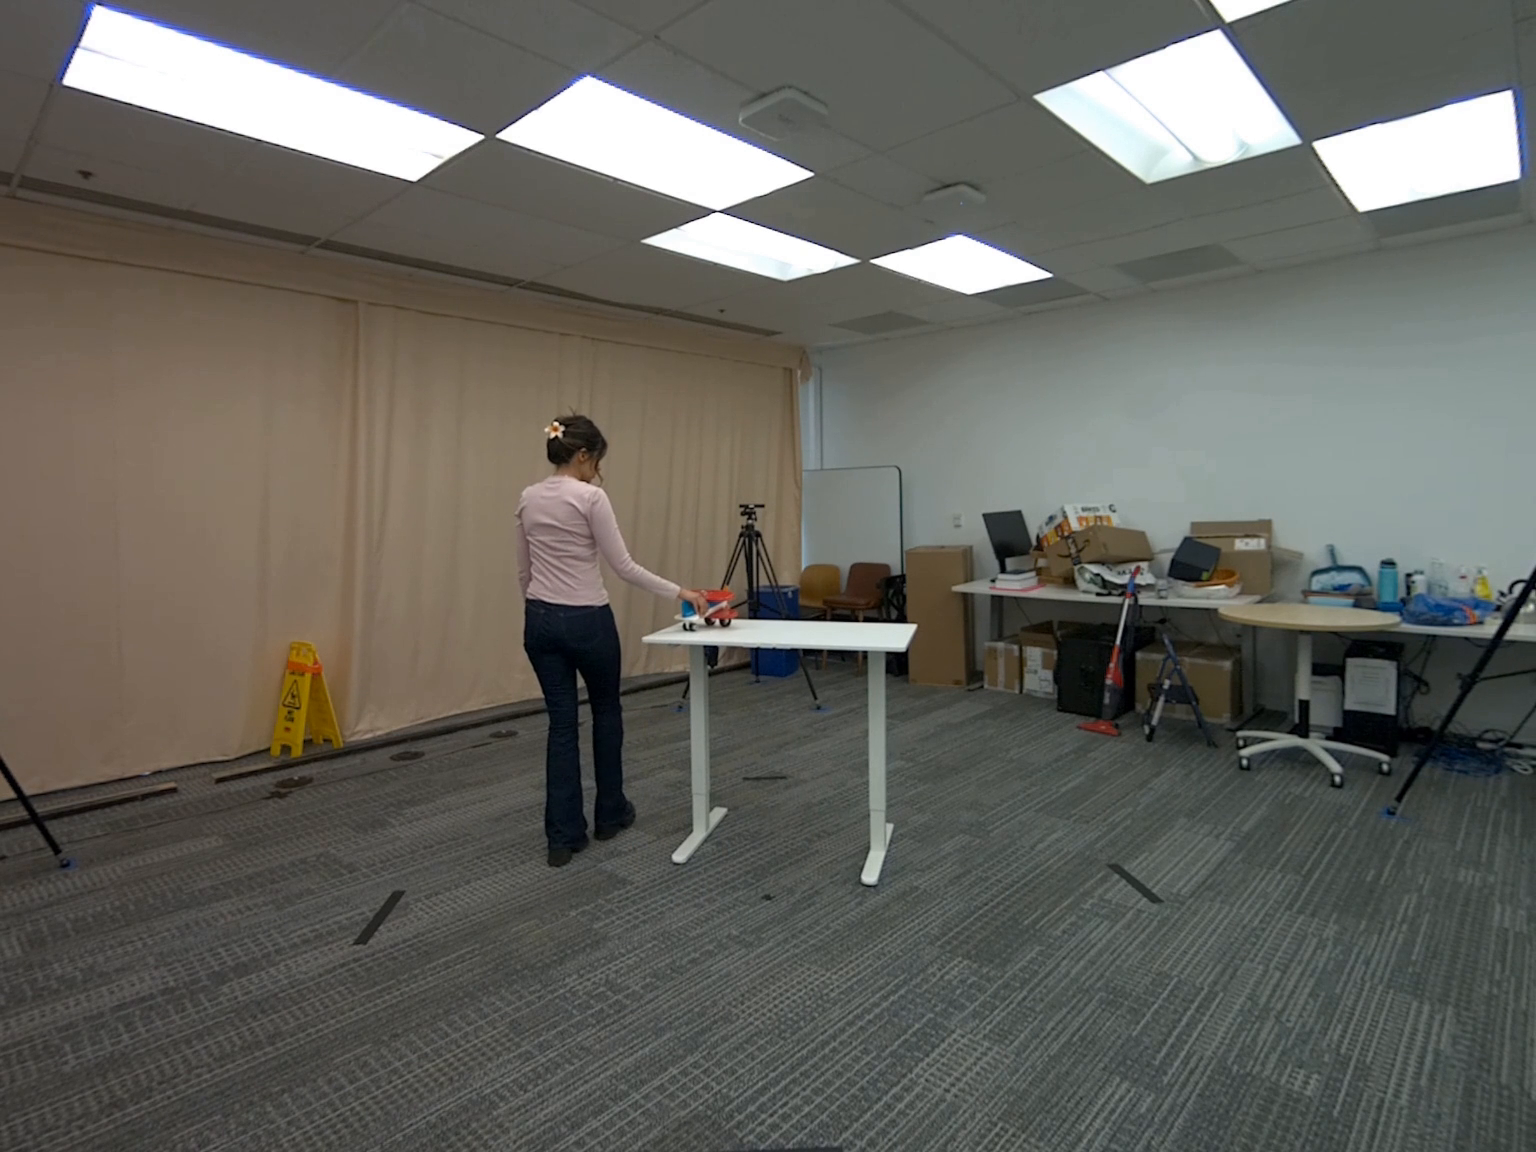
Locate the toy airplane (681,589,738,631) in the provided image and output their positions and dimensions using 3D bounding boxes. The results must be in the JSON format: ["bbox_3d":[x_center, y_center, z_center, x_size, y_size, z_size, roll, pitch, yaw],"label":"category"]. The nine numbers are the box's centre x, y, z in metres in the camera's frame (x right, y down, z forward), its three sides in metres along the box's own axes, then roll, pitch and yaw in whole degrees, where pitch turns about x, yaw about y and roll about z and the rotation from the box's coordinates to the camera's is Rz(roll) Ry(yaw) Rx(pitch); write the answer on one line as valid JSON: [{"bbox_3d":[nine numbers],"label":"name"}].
[{"bbox_3d":[-0.248,0.144,3.498,0.254,0.156,0.257,-1,4,10],"label":"toy airplane"}]
